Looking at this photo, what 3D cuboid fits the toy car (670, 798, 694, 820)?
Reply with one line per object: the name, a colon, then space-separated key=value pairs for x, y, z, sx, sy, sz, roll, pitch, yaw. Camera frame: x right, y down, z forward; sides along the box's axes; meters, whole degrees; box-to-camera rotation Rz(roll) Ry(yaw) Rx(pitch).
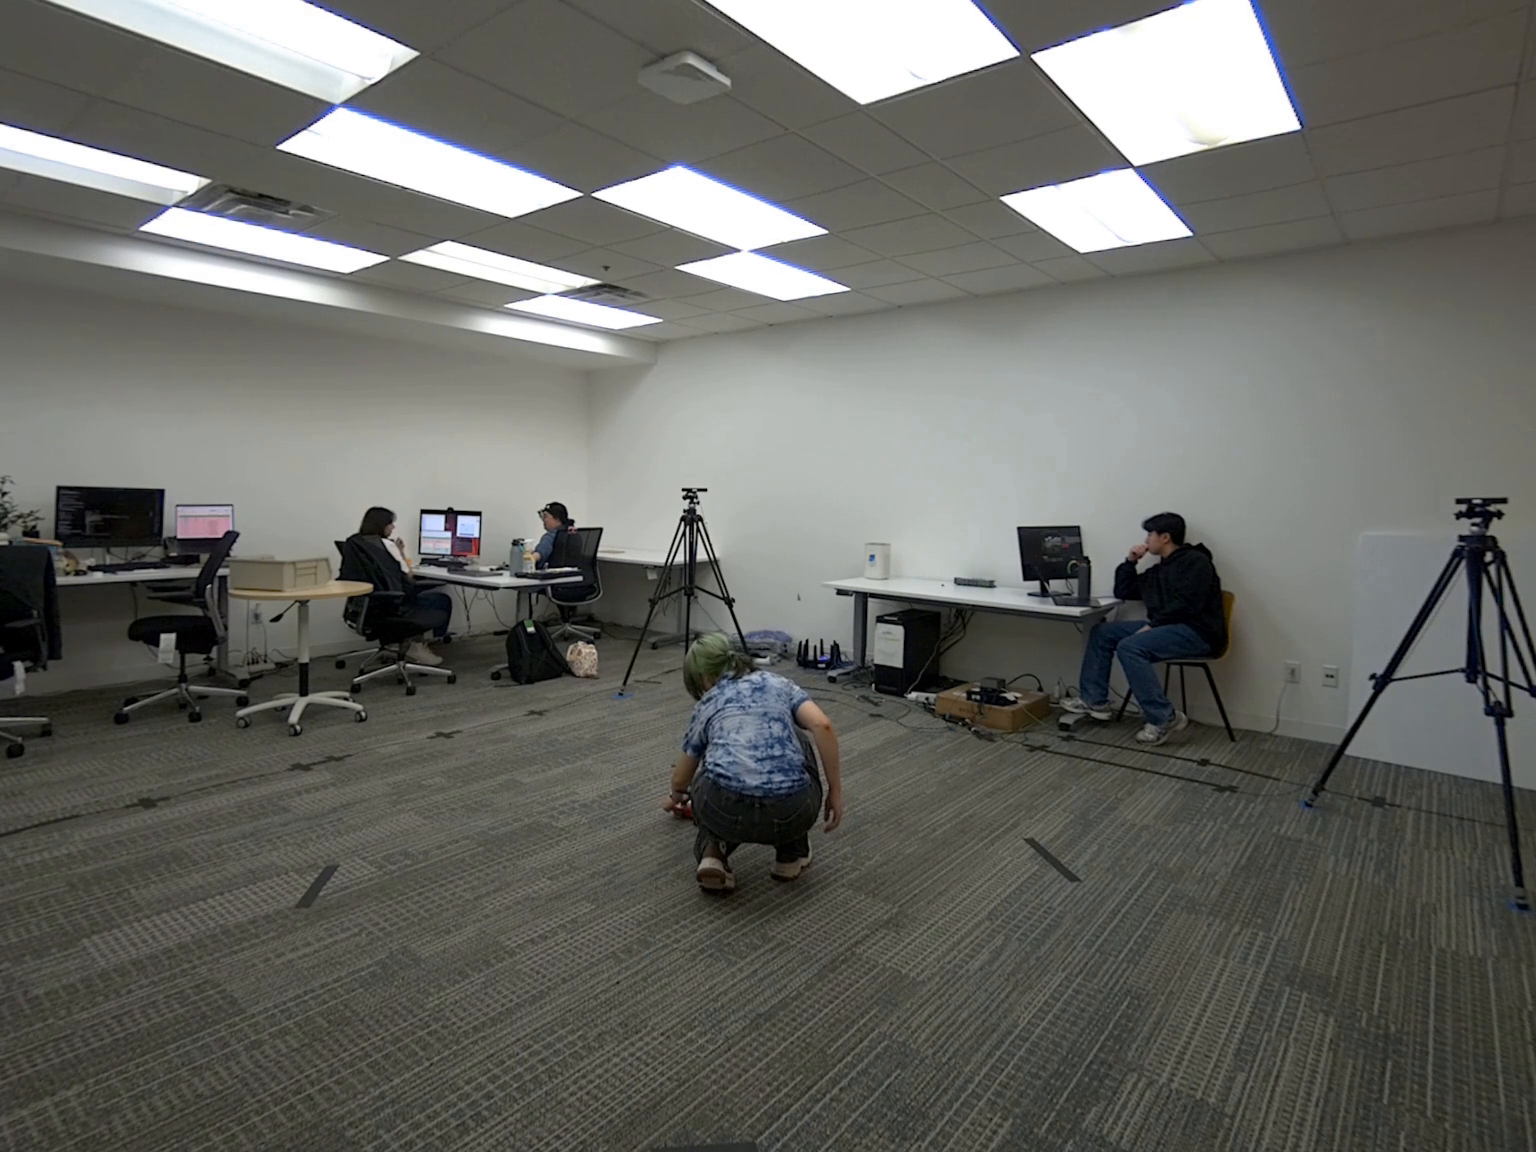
toy car: x=-0.280 y=0.992 z=3.604 sx=0.256 sy=0.083 sz=0.129 roll=-12 pitch=0 yaw=9
